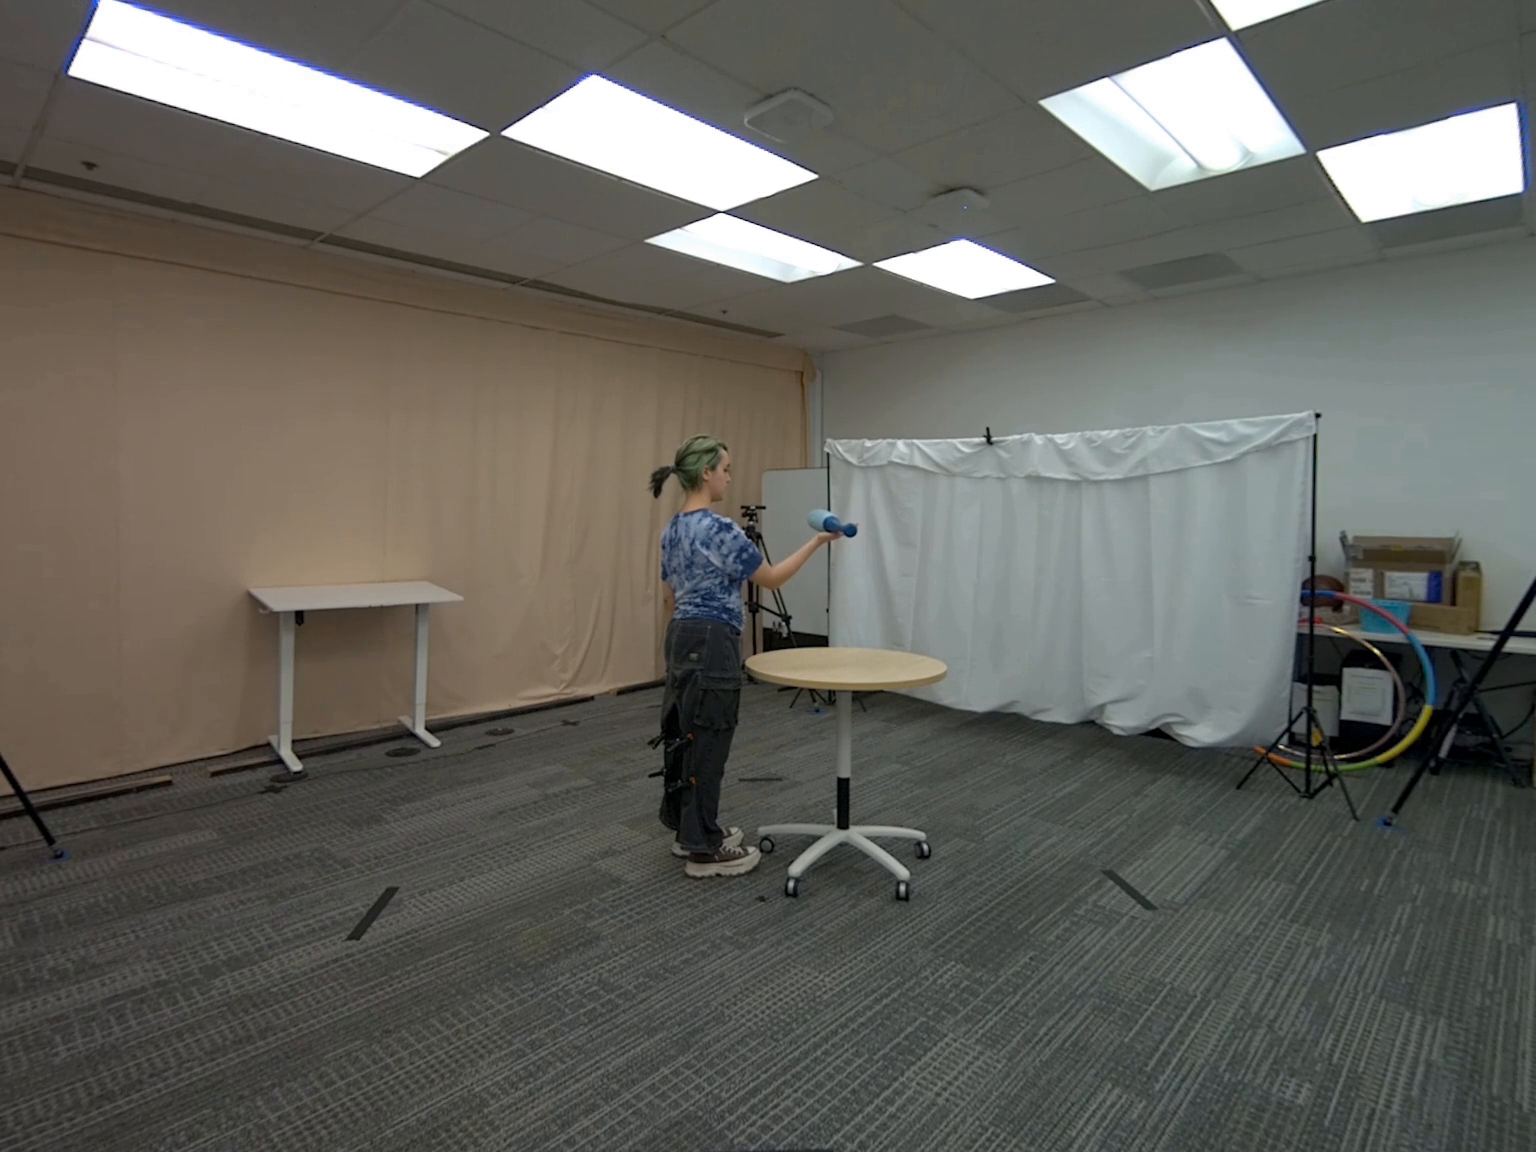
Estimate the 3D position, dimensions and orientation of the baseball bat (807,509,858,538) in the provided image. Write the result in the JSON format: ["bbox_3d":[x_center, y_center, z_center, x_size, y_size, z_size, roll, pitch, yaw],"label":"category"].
[{"bbox_3d":[0.259,-0.192,3.191,0.088,0.088,0.551,-1,9,-11],"label":"baseball bat"}]
